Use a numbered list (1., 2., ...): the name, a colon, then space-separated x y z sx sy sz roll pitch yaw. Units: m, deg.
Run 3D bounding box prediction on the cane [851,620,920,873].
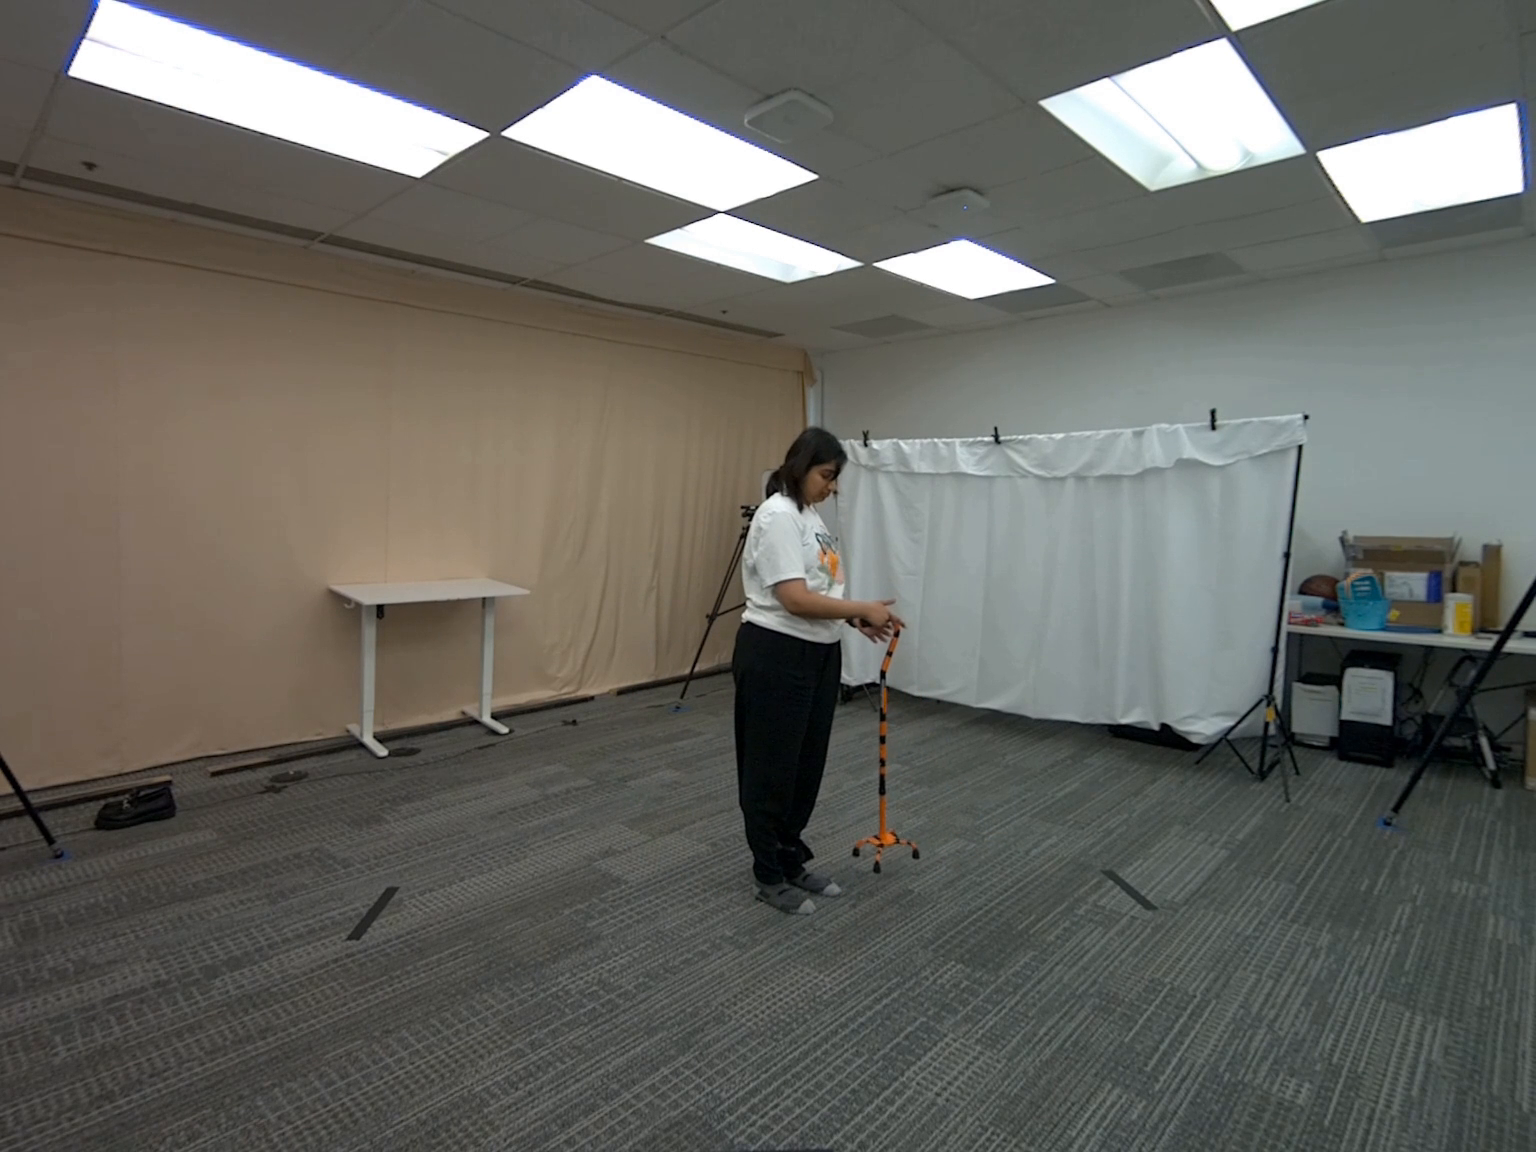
1. cane: 0.429 0.588 2.979 0.201 0.902 0.156 -6 12 -29
